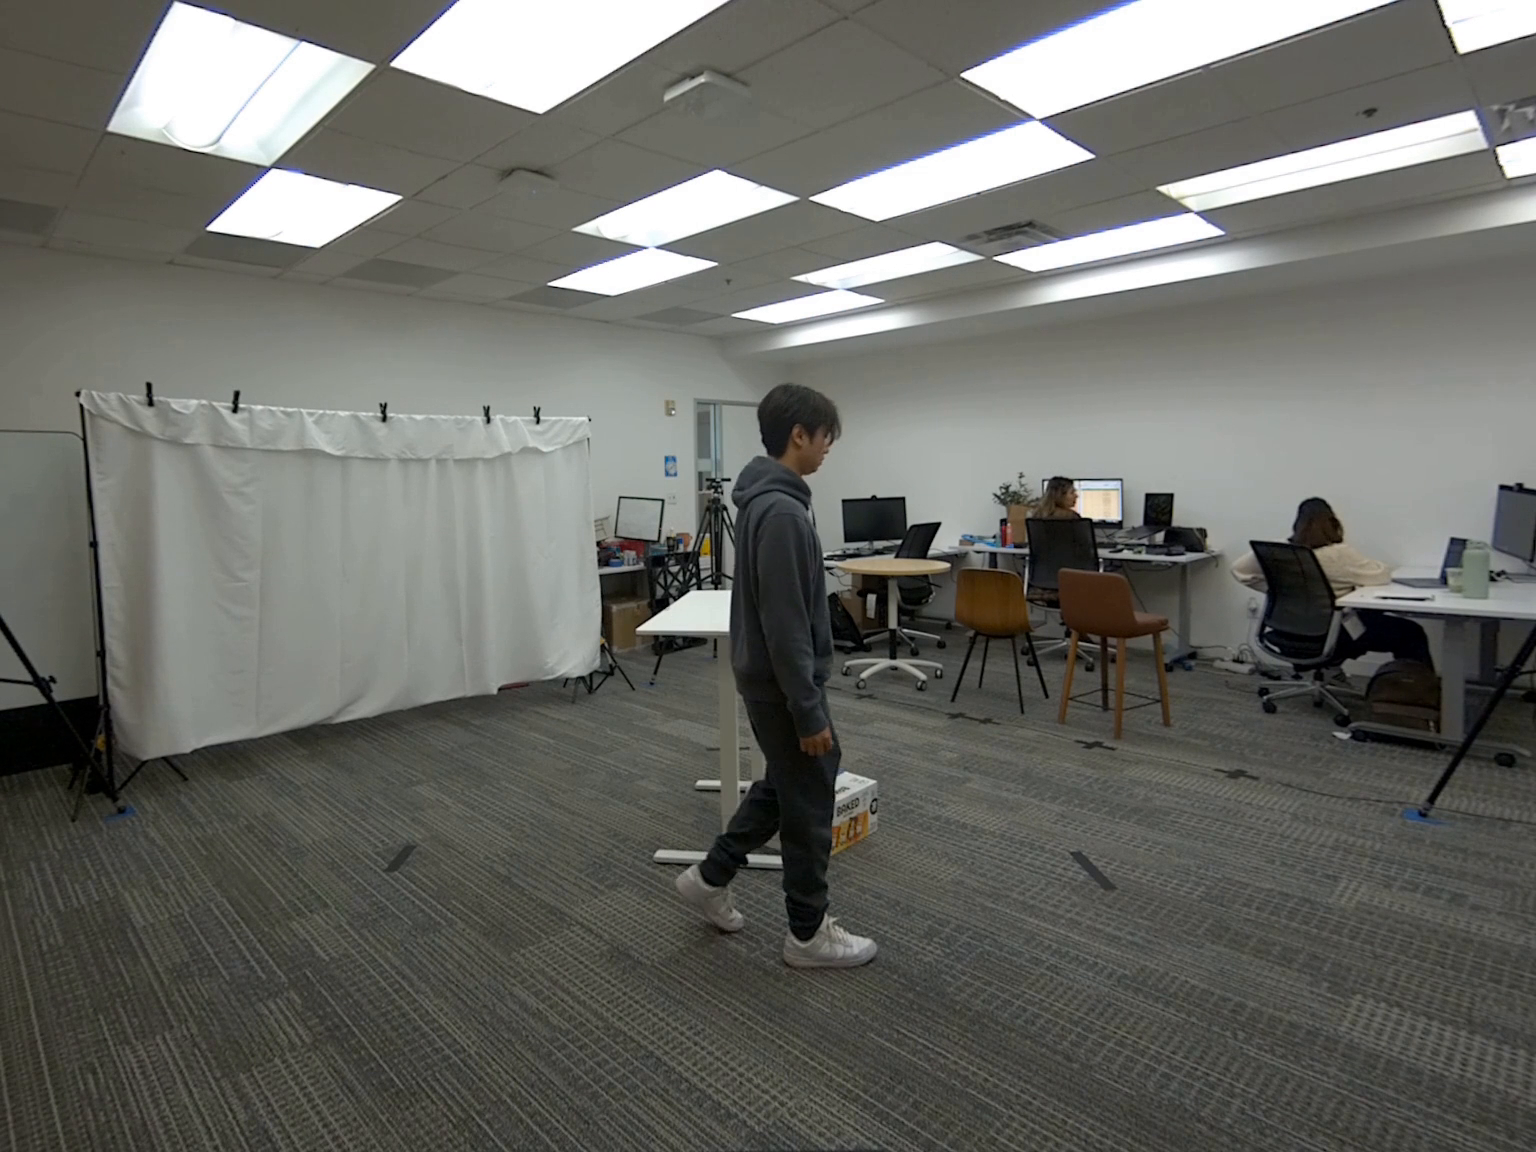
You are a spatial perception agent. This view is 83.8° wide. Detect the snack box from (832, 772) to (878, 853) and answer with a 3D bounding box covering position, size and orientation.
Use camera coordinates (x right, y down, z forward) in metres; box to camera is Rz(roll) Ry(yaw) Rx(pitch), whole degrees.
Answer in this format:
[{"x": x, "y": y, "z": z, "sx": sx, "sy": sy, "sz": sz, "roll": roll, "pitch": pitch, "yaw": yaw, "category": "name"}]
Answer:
[{"x": 0.180, "y": 0.914, "z": 3.329, "sx": 0.351, "sy": 0.205, "sz": 0.395, "roll": 4, "pitch": 8, "yaw": 41, "category": "snack box"}]
